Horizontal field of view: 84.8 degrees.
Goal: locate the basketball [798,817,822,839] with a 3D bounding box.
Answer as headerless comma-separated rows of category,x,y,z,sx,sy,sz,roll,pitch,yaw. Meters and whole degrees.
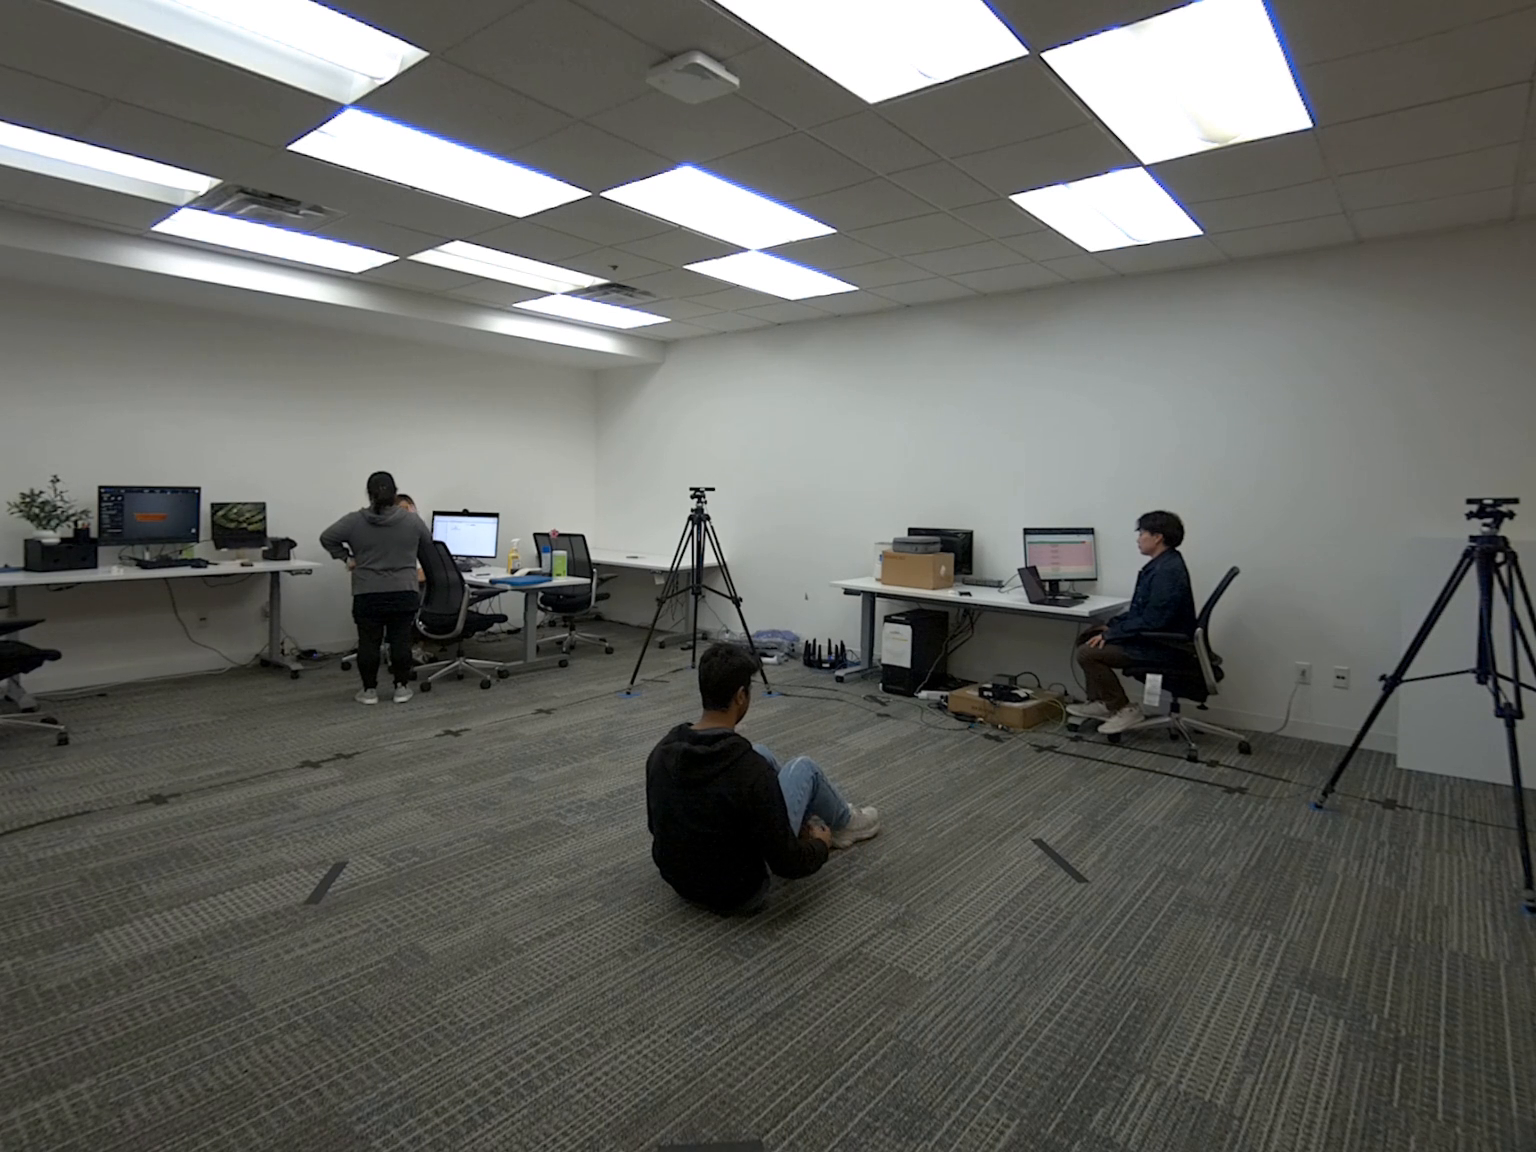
basketball,0.036,0.945,3.139,0.235,0.235,0.237,1,4,-2
